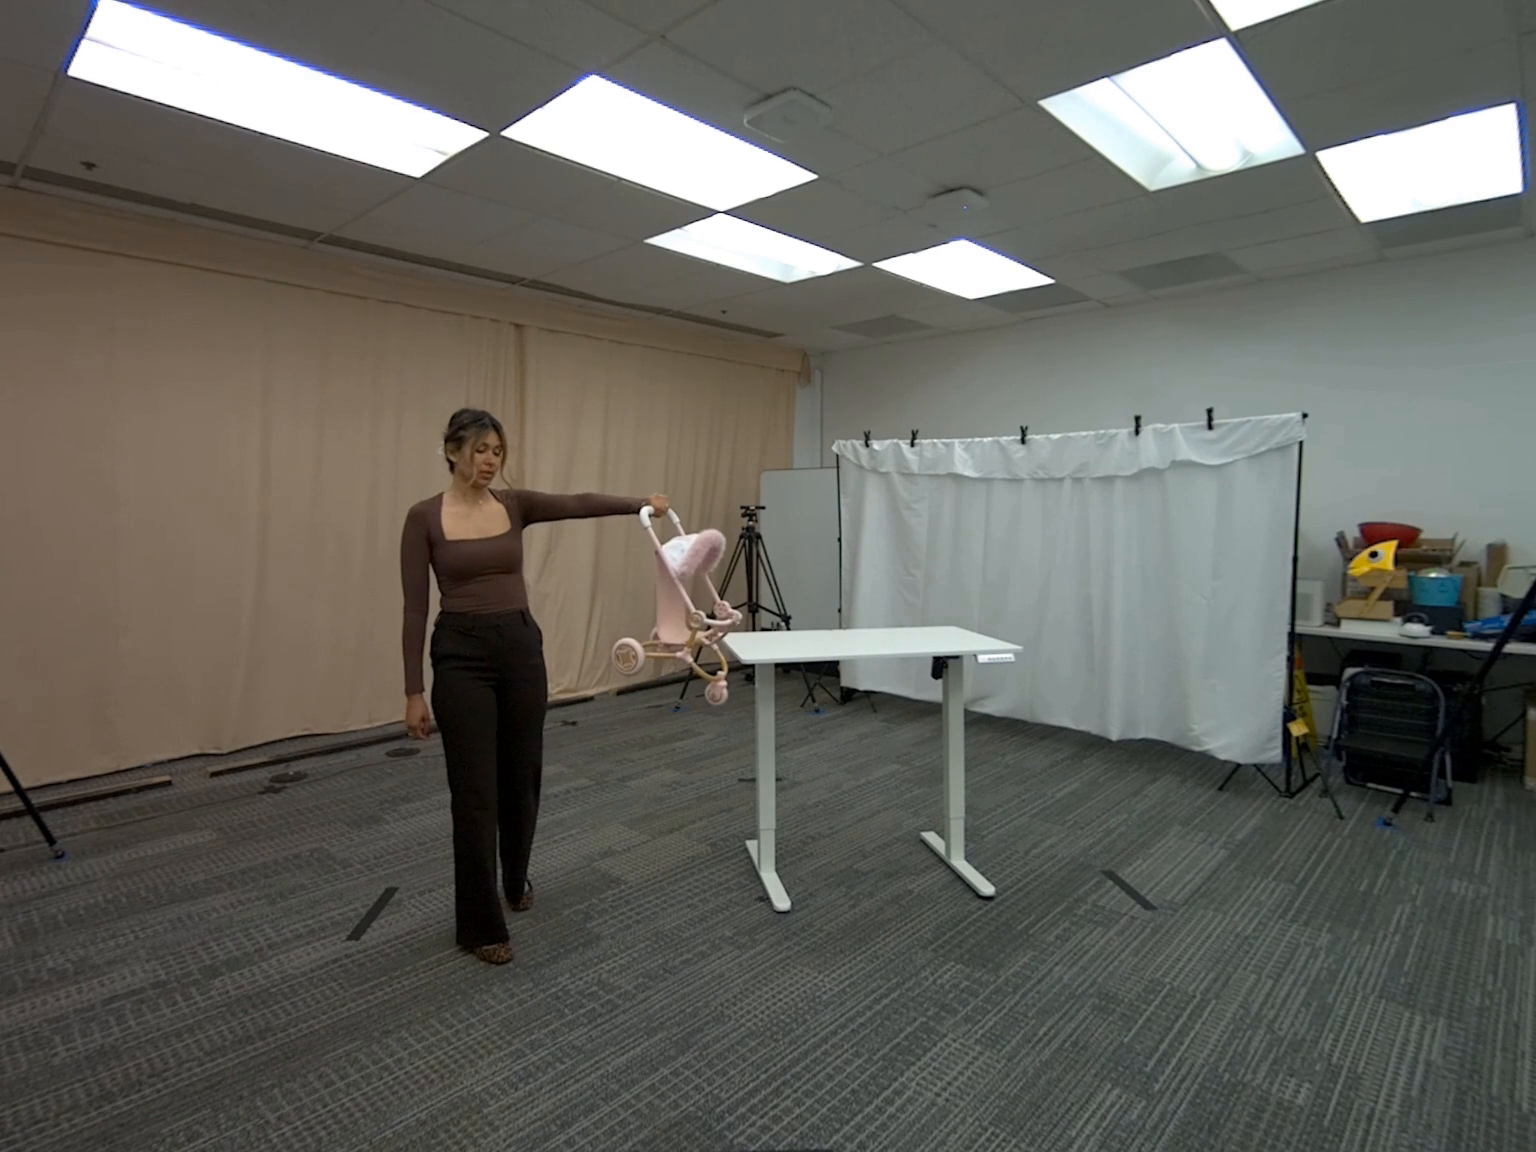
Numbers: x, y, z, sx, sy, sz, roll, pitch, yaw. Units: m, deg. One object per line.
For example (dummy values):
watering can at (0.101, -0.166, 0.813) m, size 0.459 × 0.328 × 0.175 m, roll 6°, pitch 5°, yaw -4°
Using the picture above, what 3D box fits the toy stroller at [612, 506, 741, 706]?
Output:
toy stroller at (-0.241, 0.091, 2.458) m, size 0.351 × 0.533 × 0.275 m, roll 14°, pitch 8°, yaw 24°
